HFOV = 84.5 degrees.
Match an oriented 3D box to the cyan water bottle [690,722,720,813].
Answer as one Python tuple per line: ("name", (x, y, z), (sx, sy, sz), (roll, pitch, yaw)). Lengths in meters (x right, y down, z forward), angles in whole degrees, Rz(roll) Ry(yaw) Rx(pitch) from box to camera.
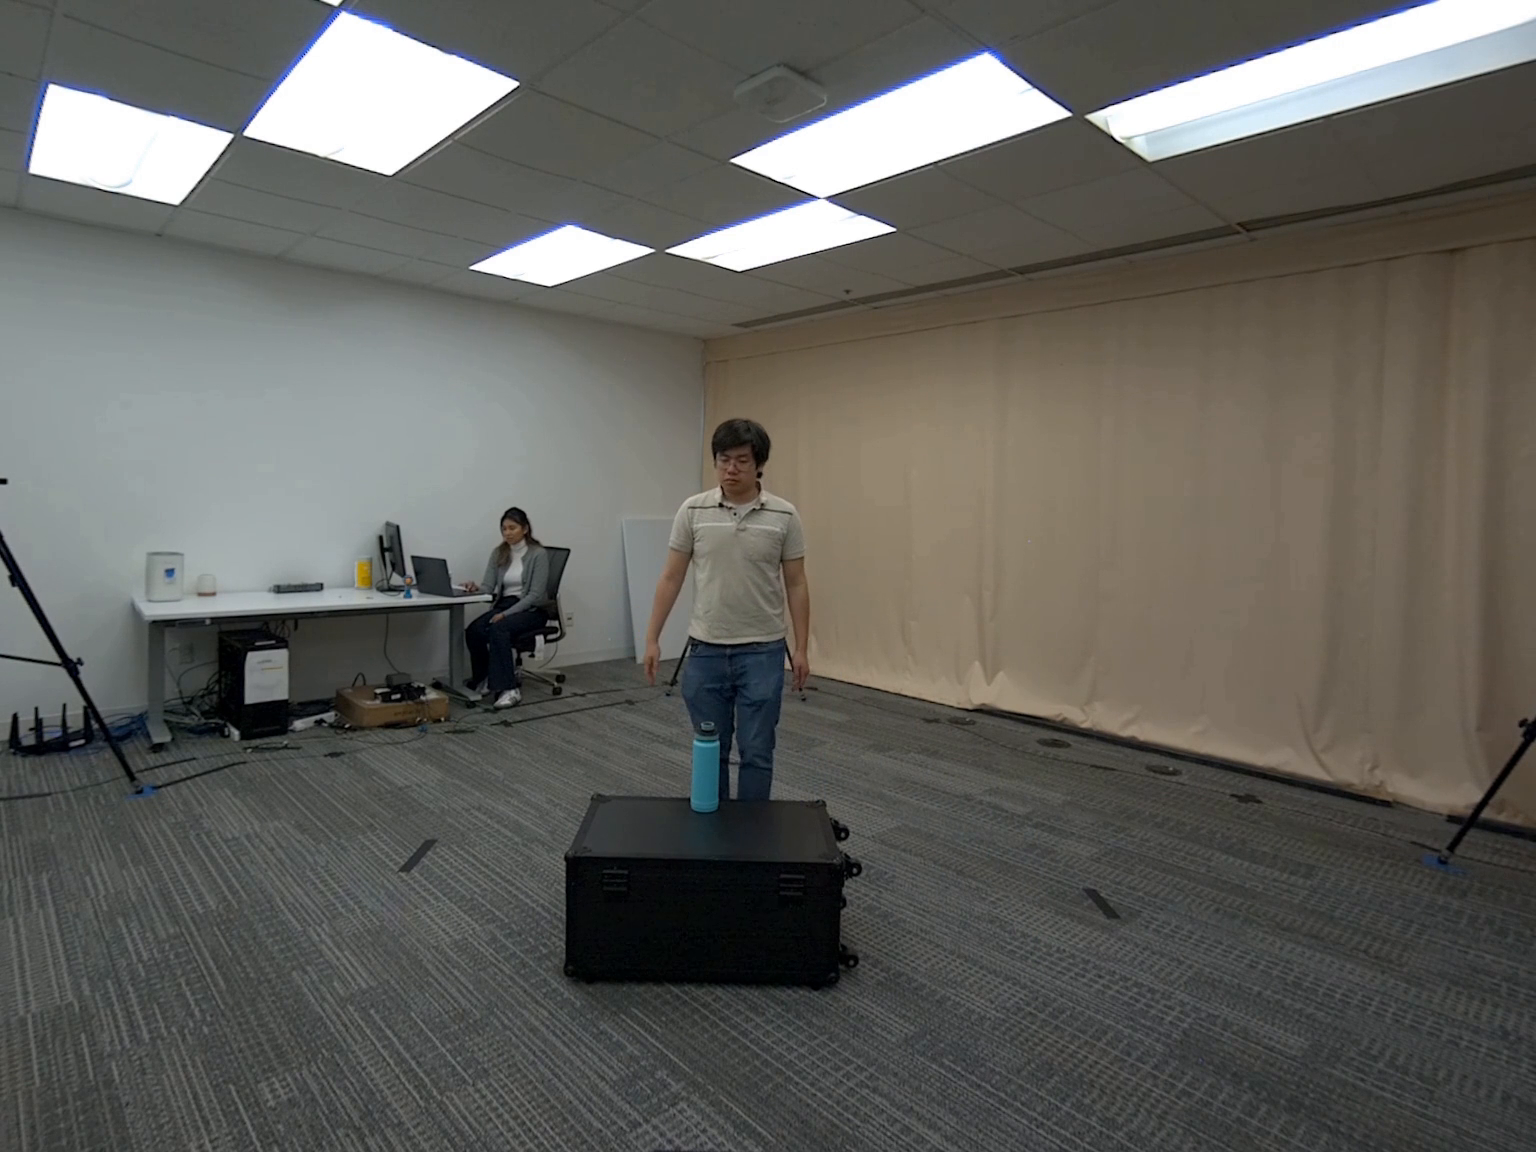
("cyan water bottle", (-0.225, 0.624, 2.753), (0.092, 0.283, 0.092), (1, 1, -1))
